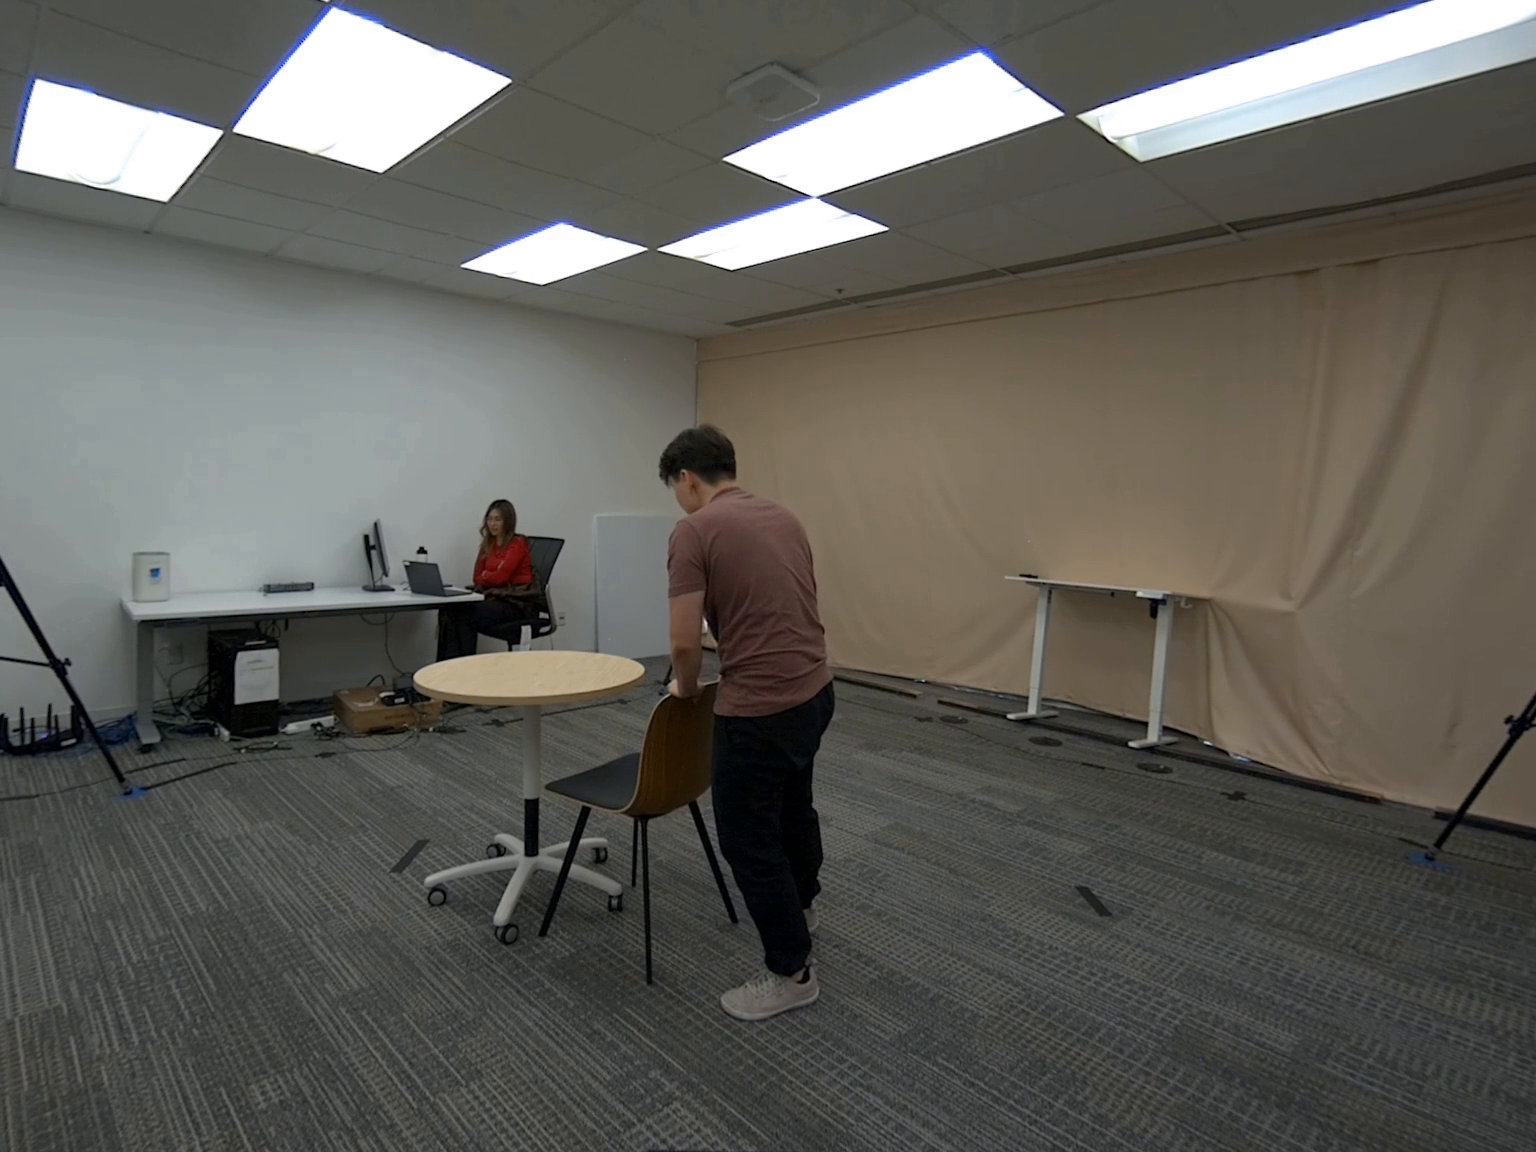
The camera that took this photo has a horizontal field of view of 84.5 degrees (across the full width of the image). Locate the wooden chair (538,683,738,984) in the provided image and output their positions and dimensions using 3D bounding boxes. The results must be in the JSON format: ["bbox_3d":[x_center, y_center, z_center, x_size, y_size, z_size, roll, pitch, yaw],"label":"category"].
[{"bbox_3d":[-0.411,0.712,2.674,0.536,0.874,0.468,9,7,33],"label":"wooden chair"}]
